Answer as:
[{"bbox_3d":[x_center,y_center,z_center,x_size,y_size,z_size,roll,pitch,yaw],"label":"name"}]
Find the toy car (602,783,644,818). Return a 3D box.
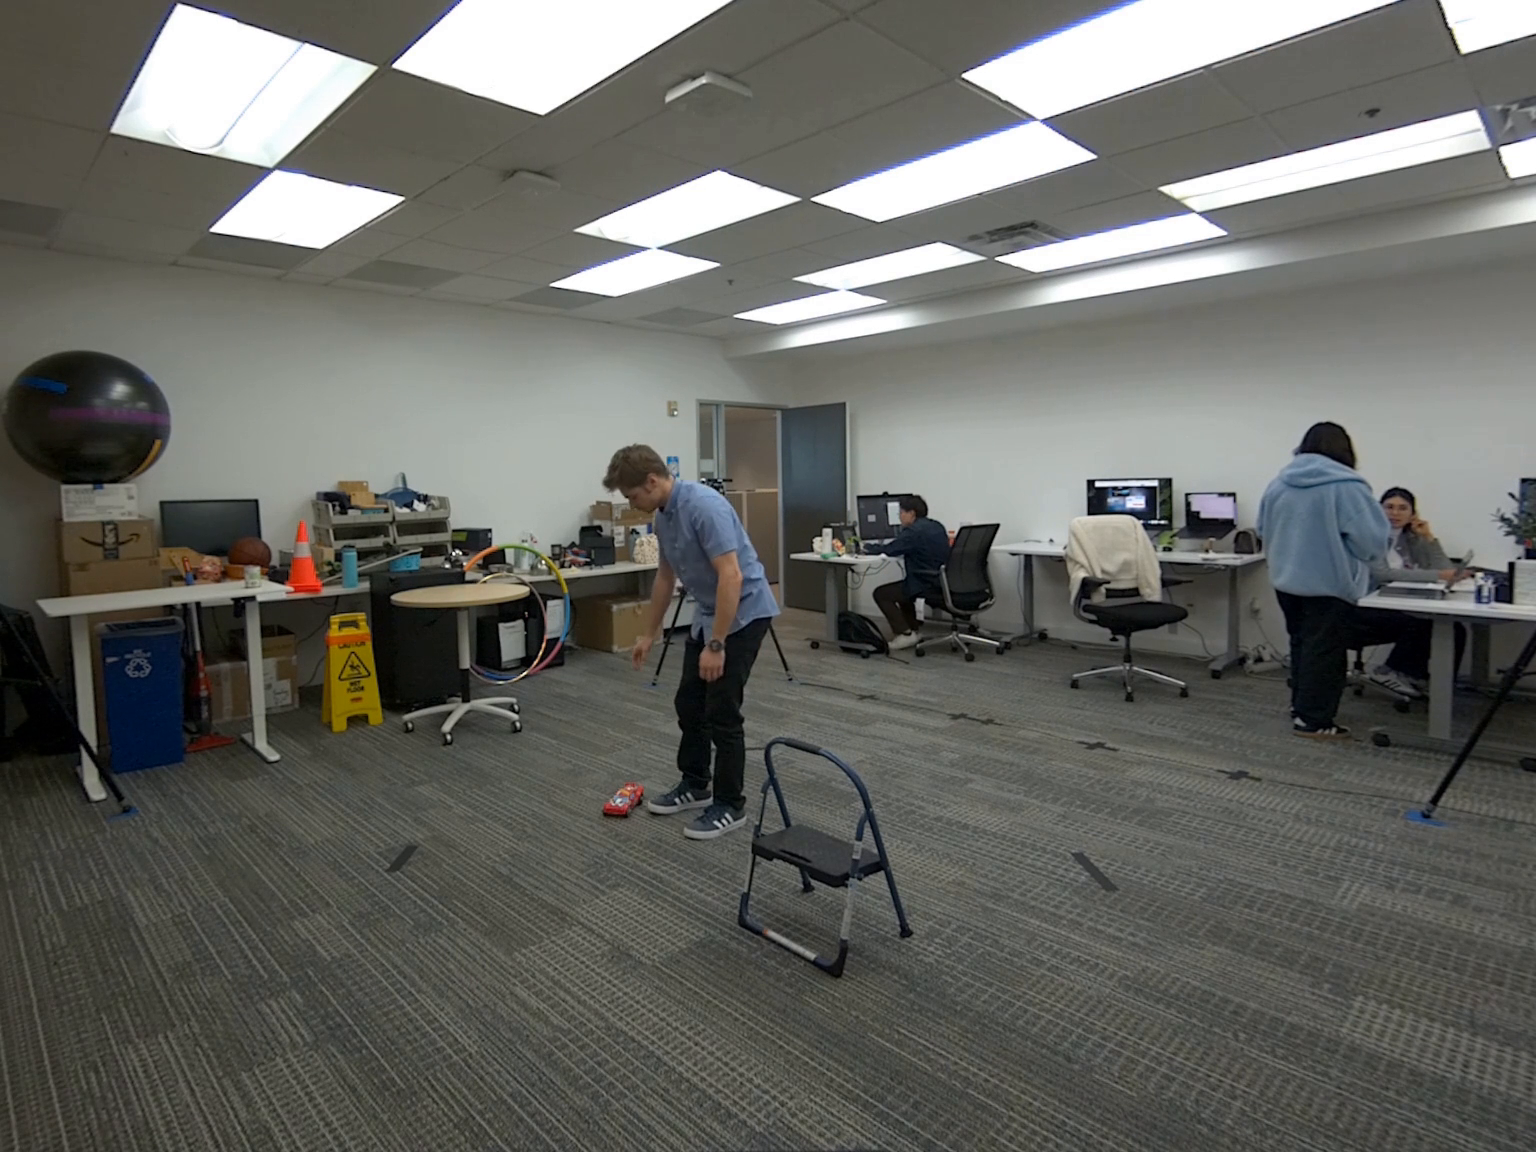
[{"bbox_3d":[-0.611,0.958,3.671,0.132,0.082,0.255,-1,17,13],"label":"toy car"}]
